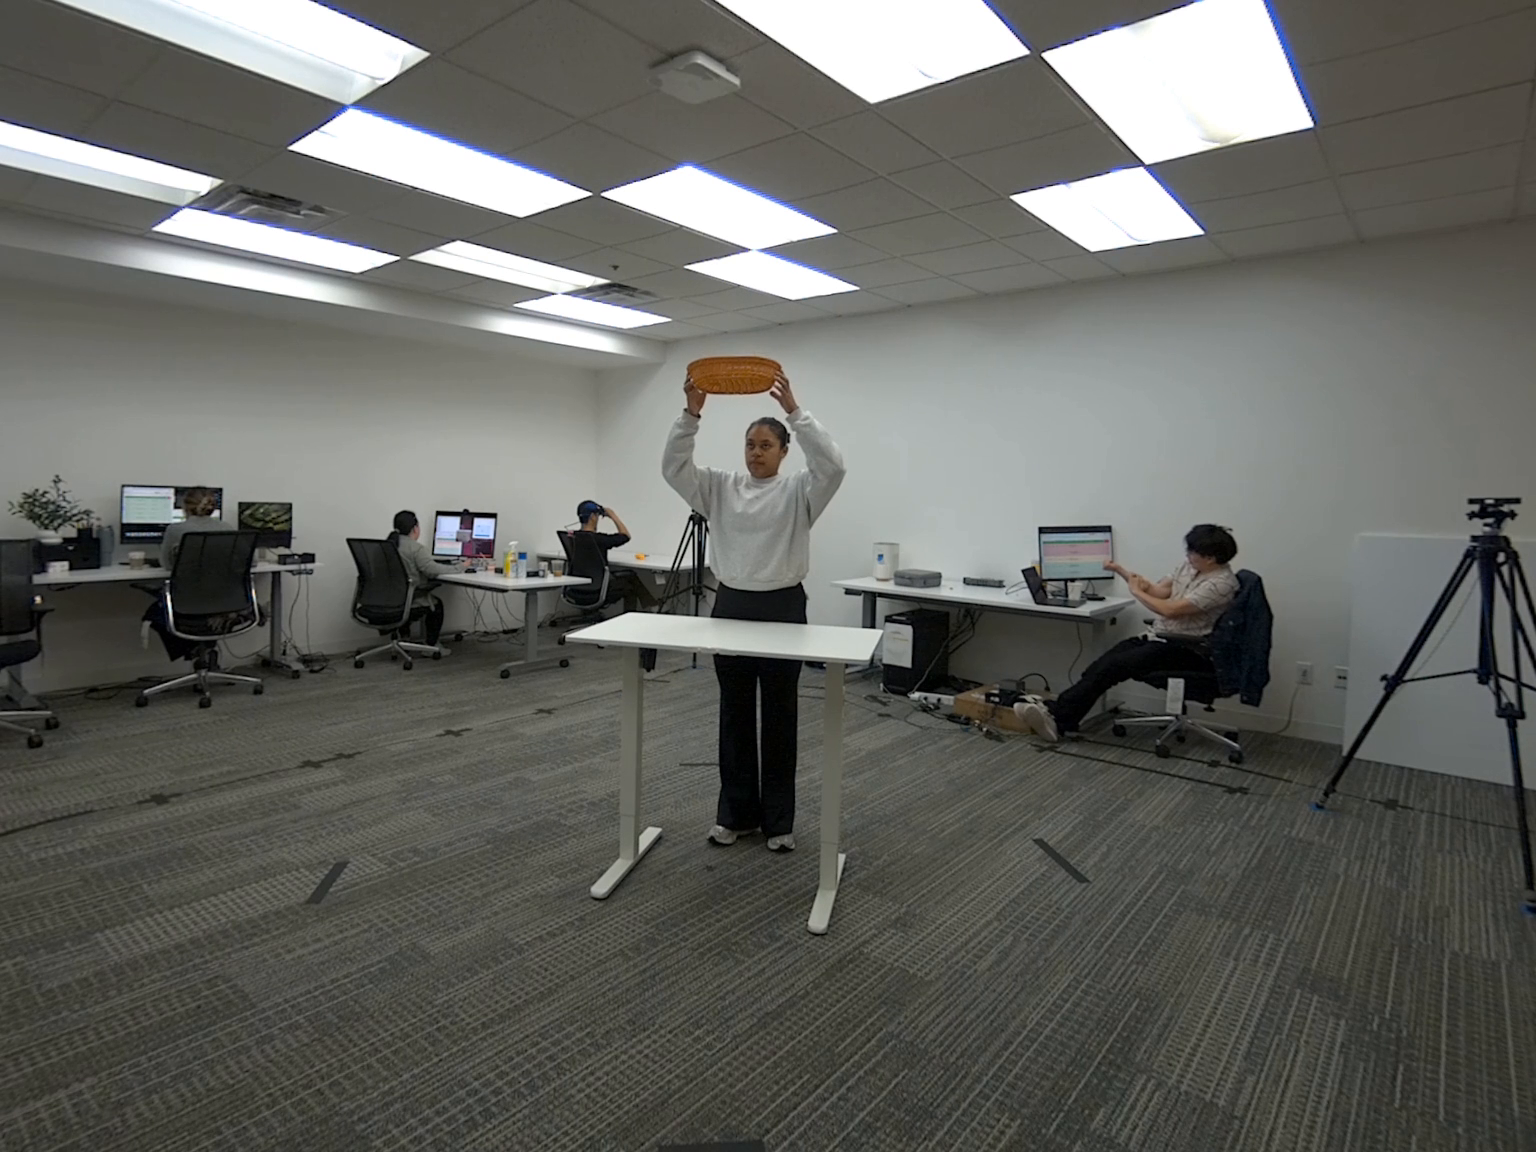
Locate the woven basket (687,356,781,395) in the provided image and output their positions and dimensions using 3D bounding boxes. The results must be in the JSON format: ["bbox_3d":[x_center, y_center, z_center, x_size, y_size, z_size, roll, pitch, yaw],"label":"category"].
[{"bbox_3d":[-0.128,-0.727,3.087,0.356,0.074,0.246,0,-8,16],"label":"woven basket"}]
